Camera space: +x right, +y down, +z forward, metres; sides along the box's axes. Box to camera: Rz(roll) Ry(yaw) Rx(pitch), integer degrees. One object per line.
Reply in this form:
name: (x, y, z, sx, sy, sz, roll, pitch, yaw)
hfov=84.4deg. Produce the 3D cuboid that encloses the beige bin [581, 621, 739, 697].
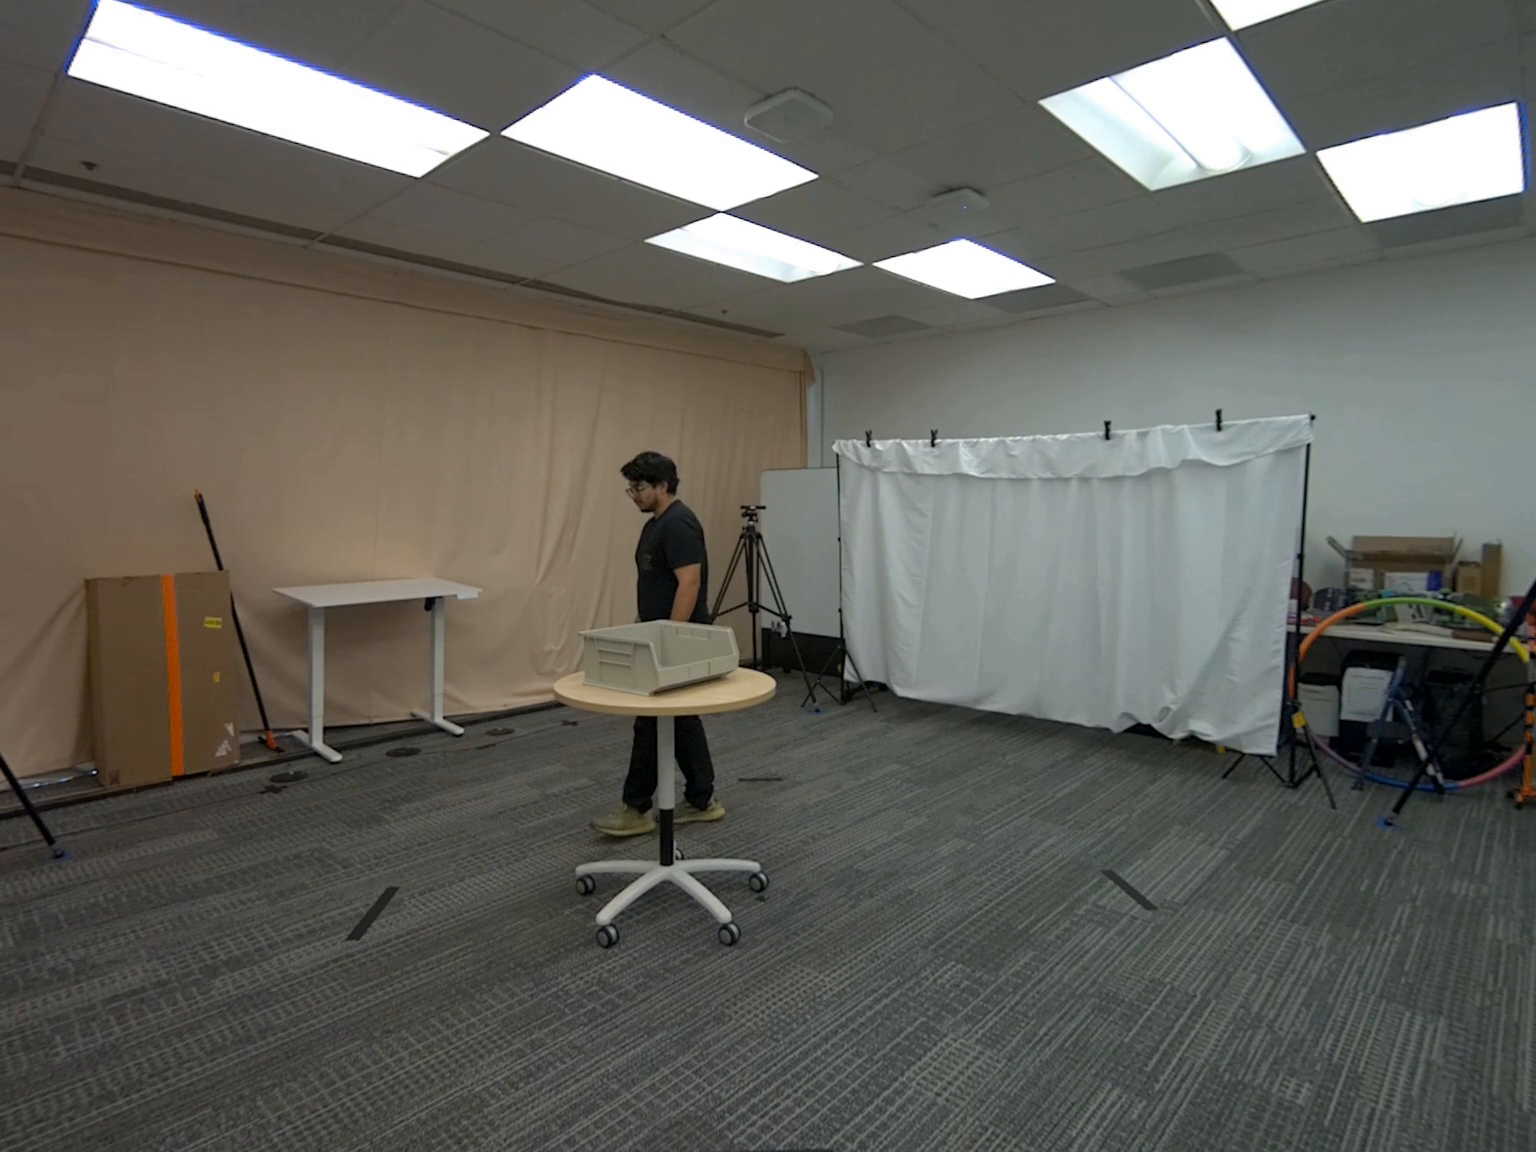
beige bin: (-0.368, 0.281, 2.927, 0.389, 0.188, 0.410, 1, 4, 37)
